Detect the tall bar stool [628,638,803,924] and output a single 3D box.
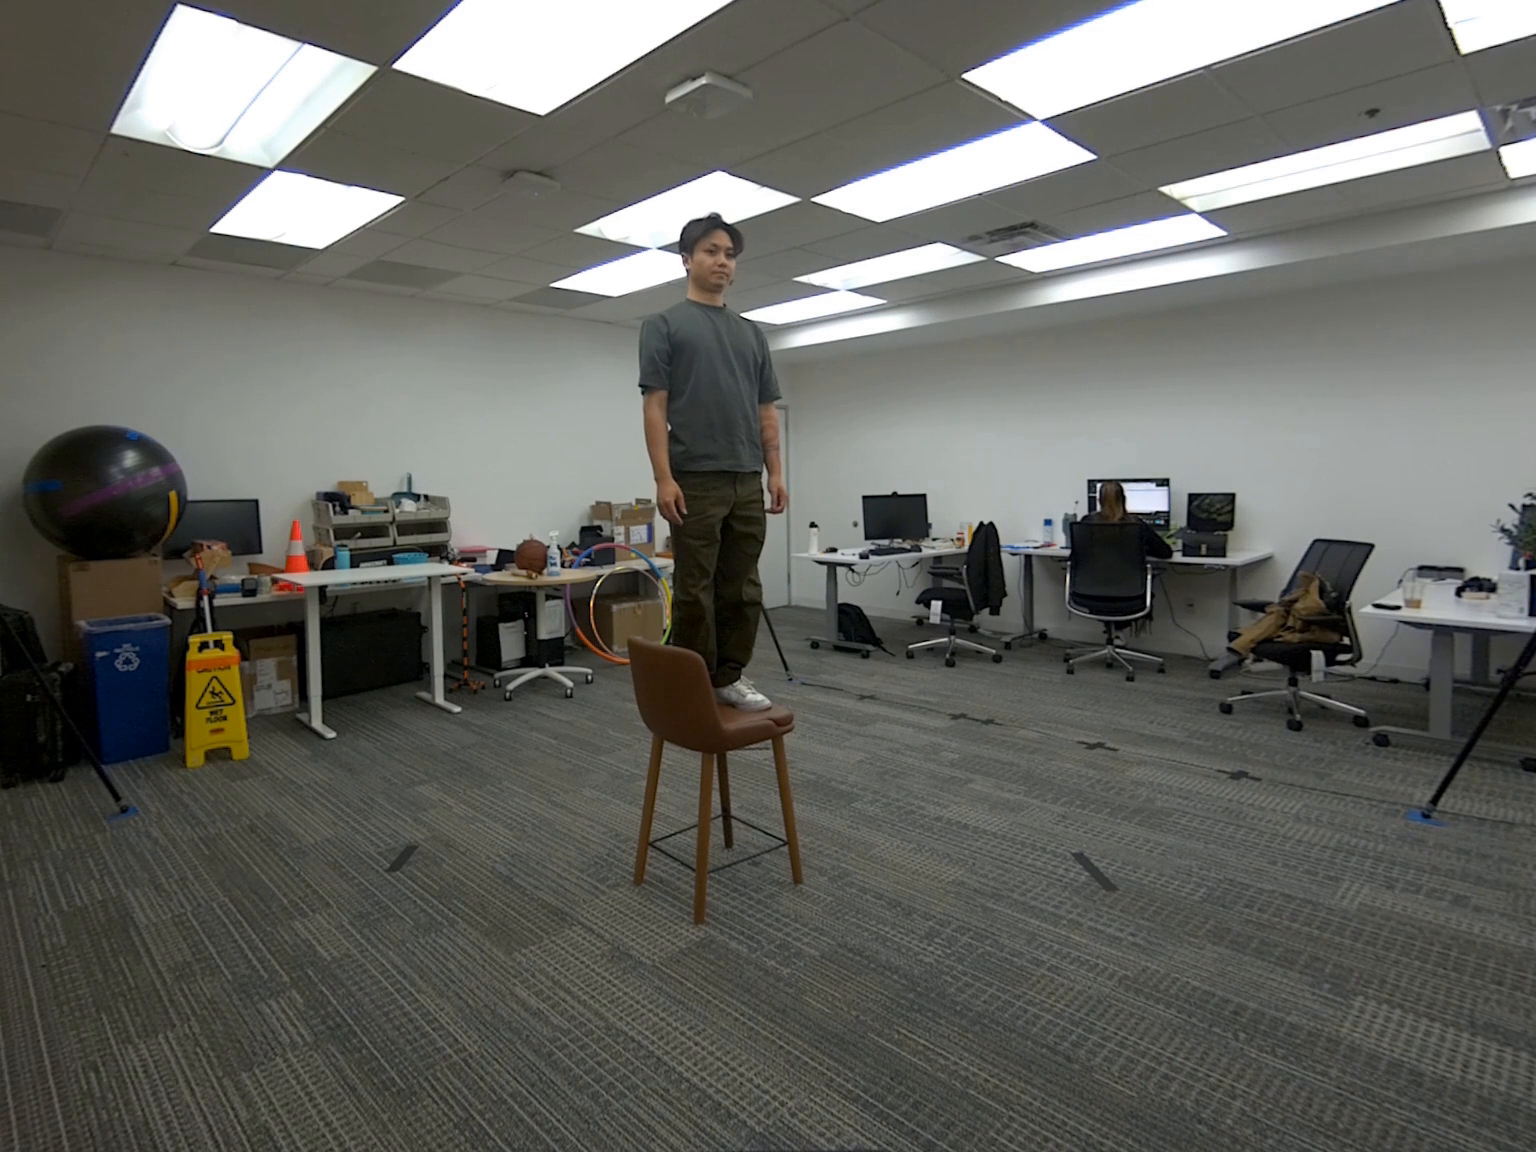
[{"bbox_3d":[-0.188,0.630,2.936,0.456,0.885,0.470,-7,7,-40],"label":"tall bar stool"}]
